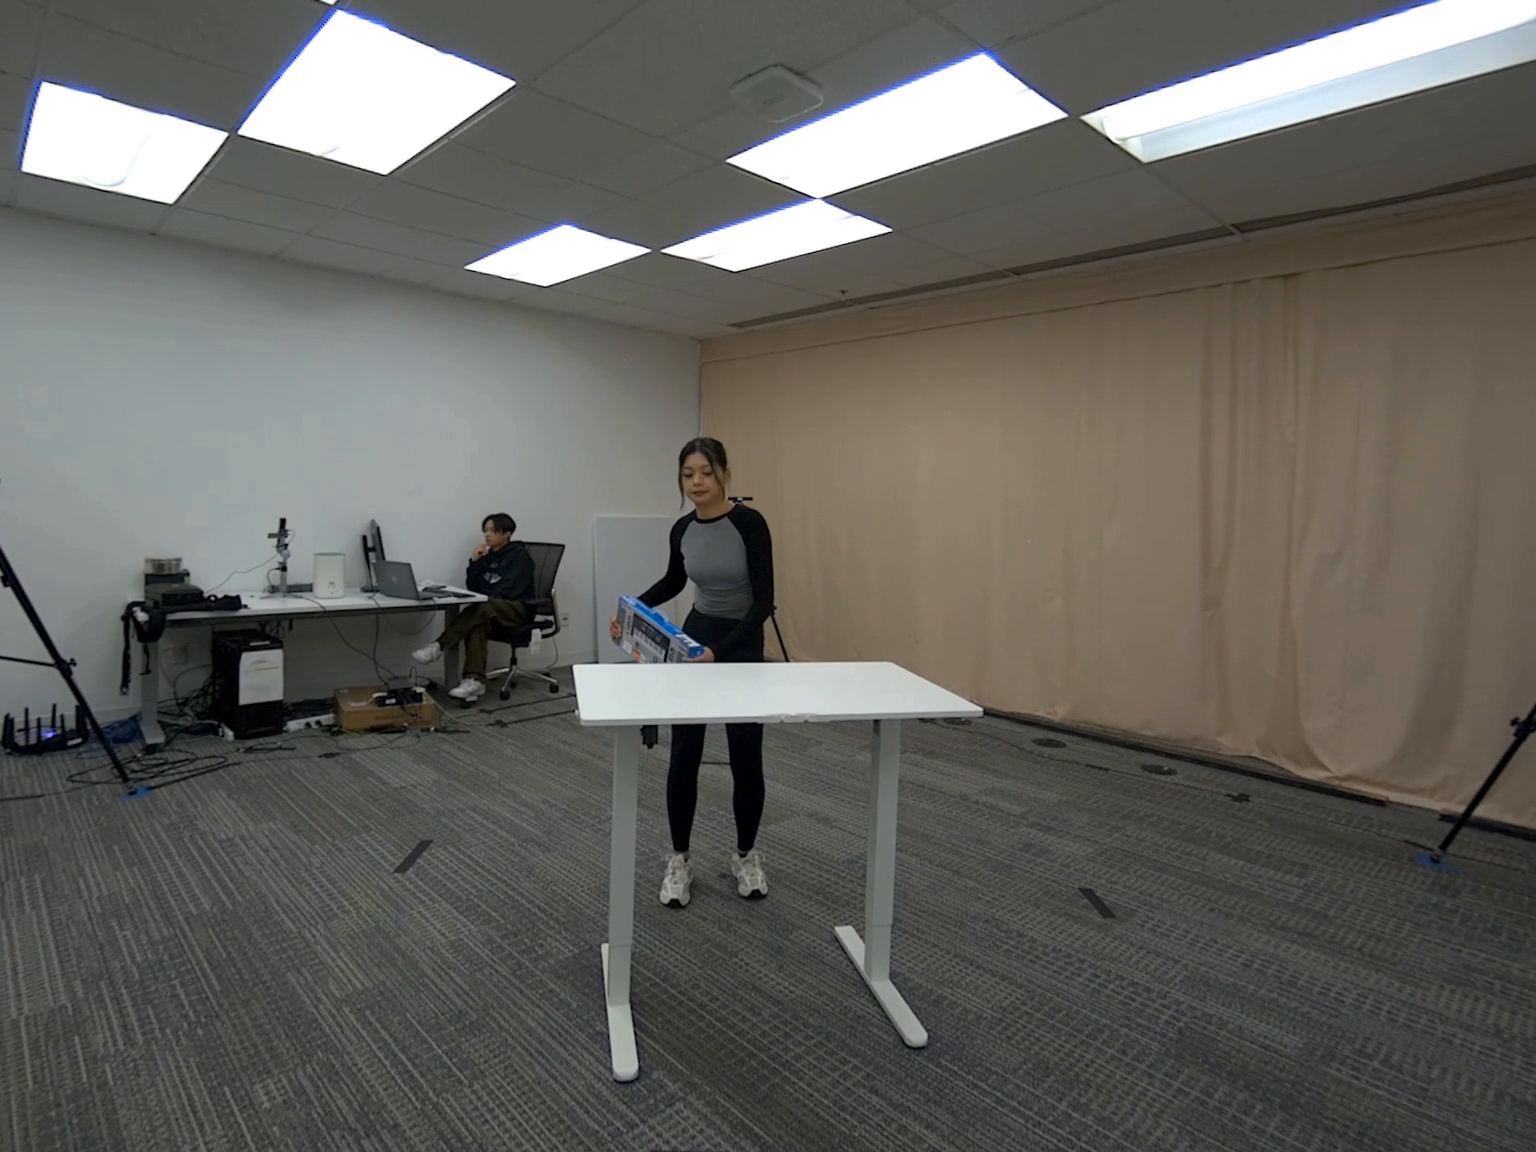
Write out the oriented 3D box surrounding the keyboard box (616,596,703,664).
[{"bbox_3d":[-0.380,0.231,2.833,0.058,0.174,0.451,-3,24,-40],"label":"keyboard box"}]
